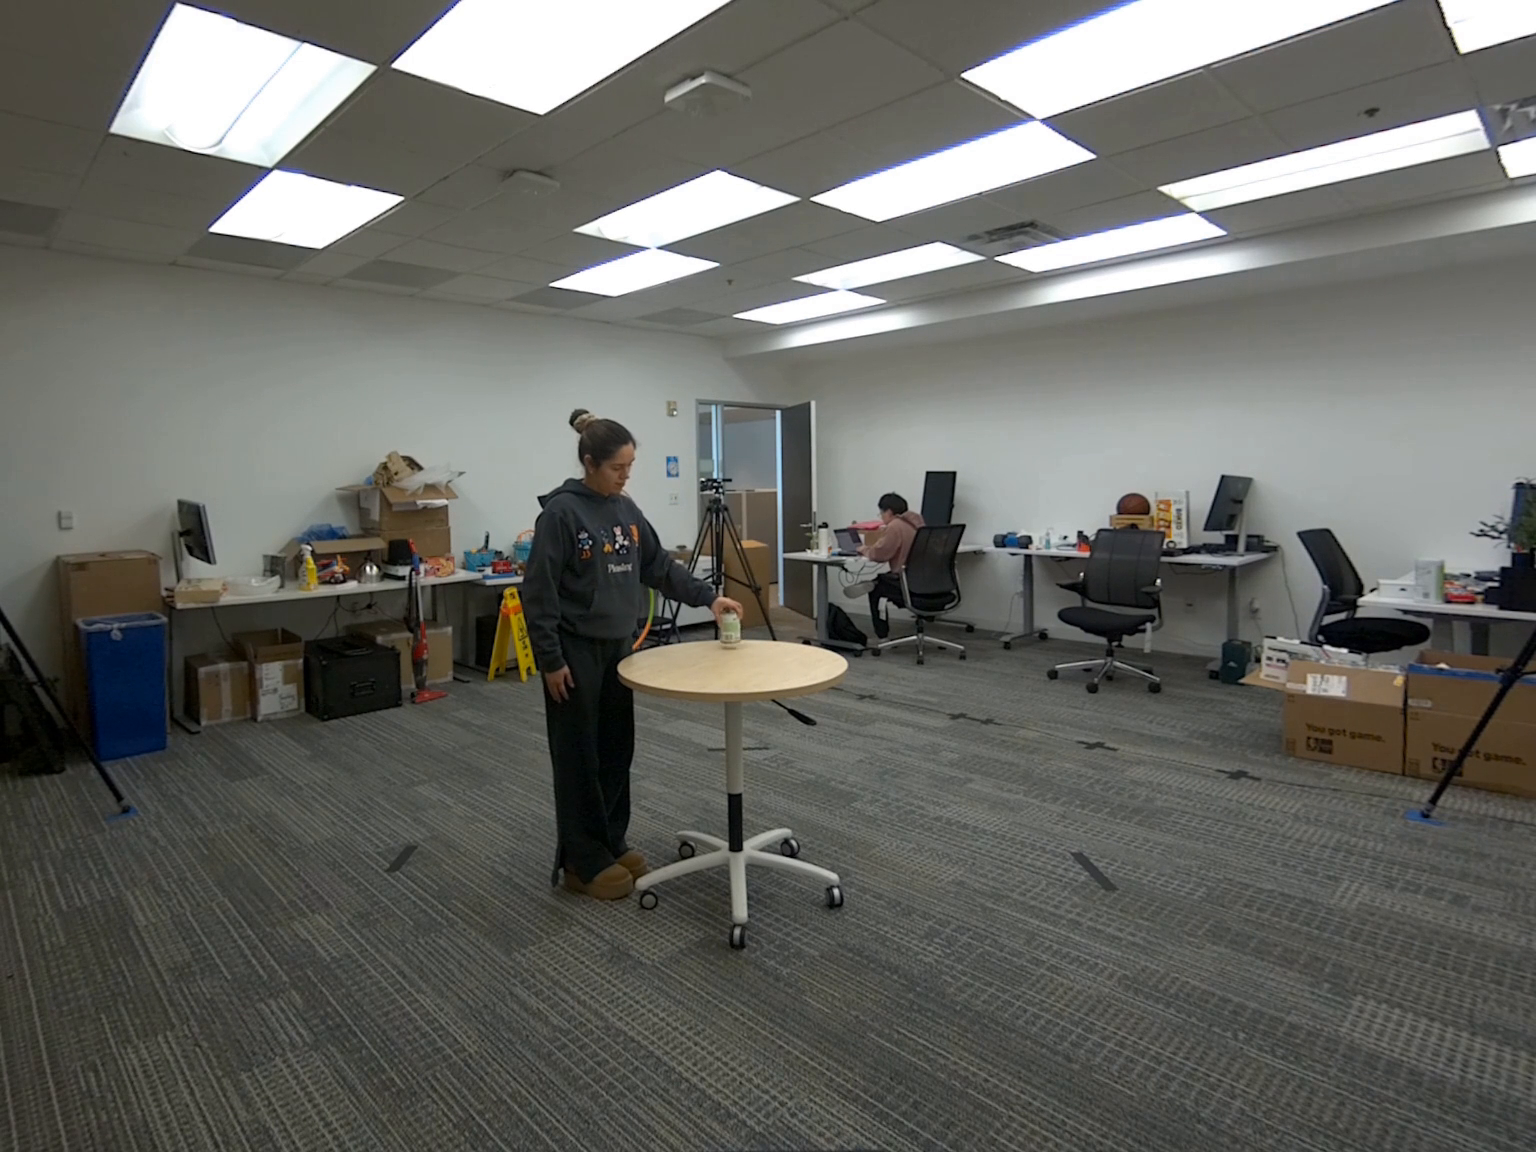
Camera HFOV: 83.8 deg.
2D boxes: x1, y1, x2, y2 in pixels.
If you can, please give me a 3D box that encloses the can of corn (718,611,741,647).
[{"bbox_3d":[-0.135,0.188,3.083,0.074,0.111,0.074,-3,1,-2],"label":"can of corn"}]
